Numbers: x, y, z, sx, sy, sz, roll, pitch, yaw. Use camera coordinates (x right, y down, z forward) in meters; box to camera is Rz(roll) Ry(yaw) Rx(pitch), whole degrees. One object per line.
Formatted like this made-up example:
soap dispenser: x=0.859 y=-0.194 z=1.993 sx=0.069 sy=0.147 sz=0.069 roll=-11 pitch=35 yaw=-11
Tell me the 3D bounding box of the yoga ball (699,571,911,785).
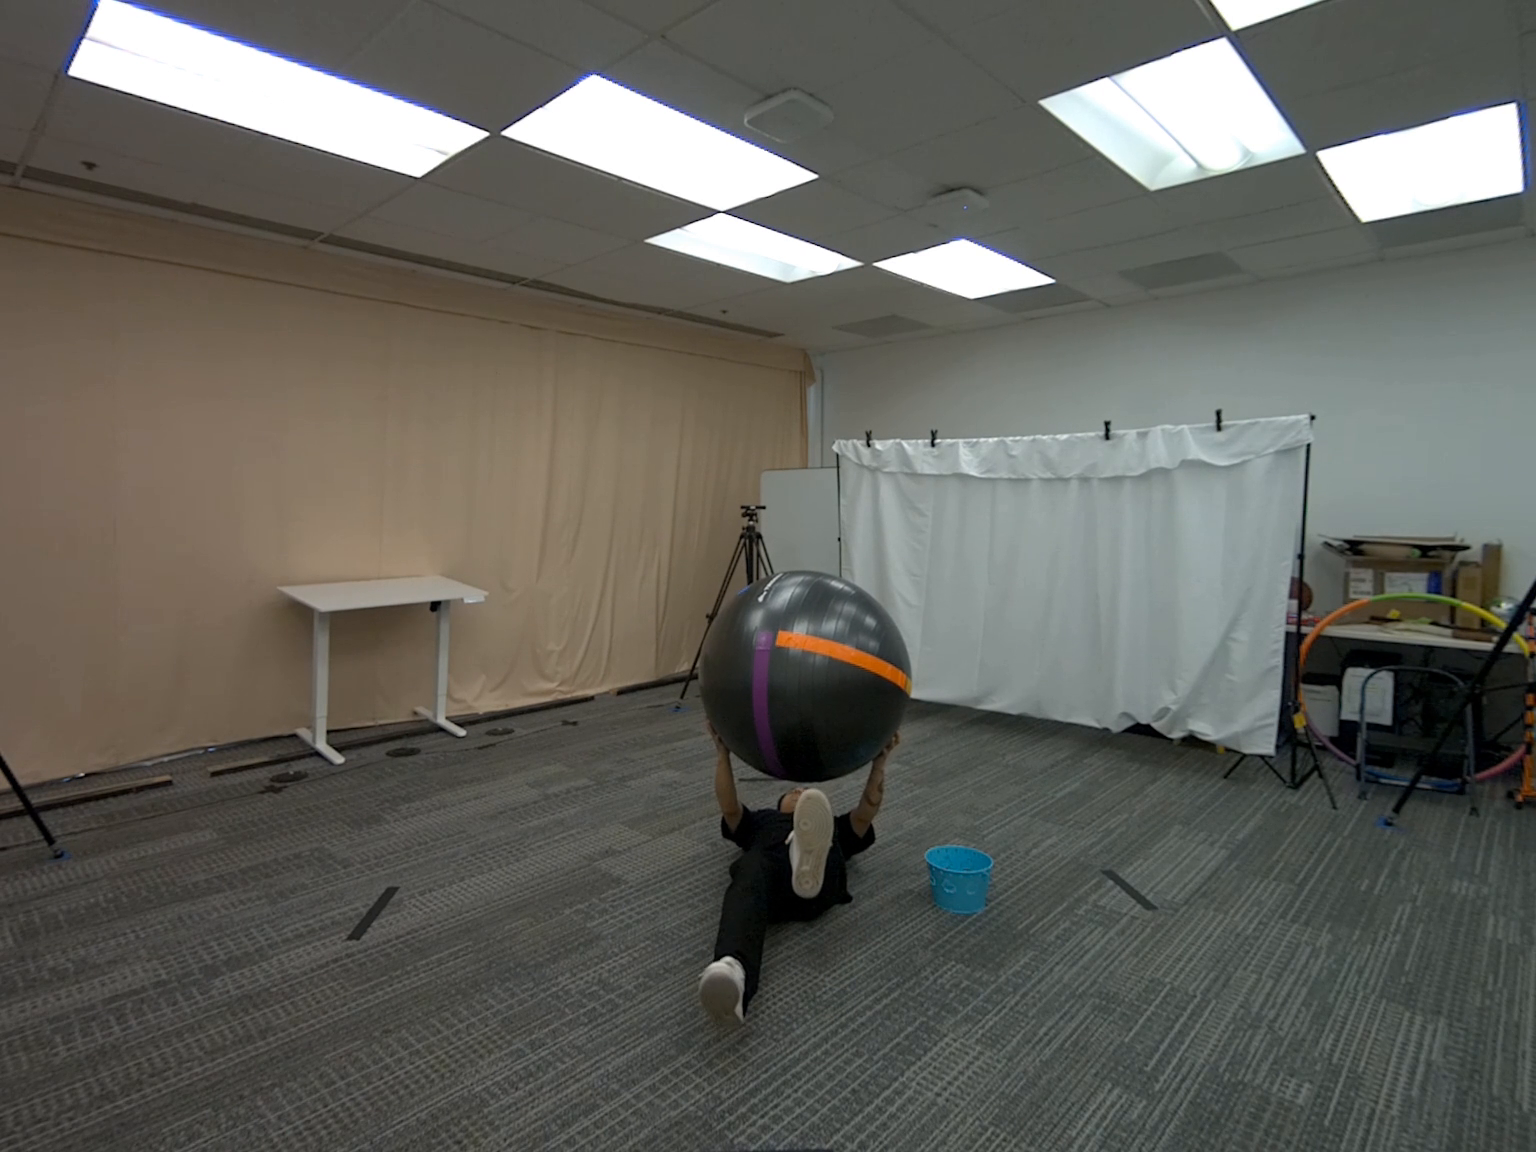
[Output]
yoga ball: x=0.130 y=0.364 z=3.060 sx=0.757 sy=0.756 sz=0.760 roll=0 pitch=4 yaw=-2
